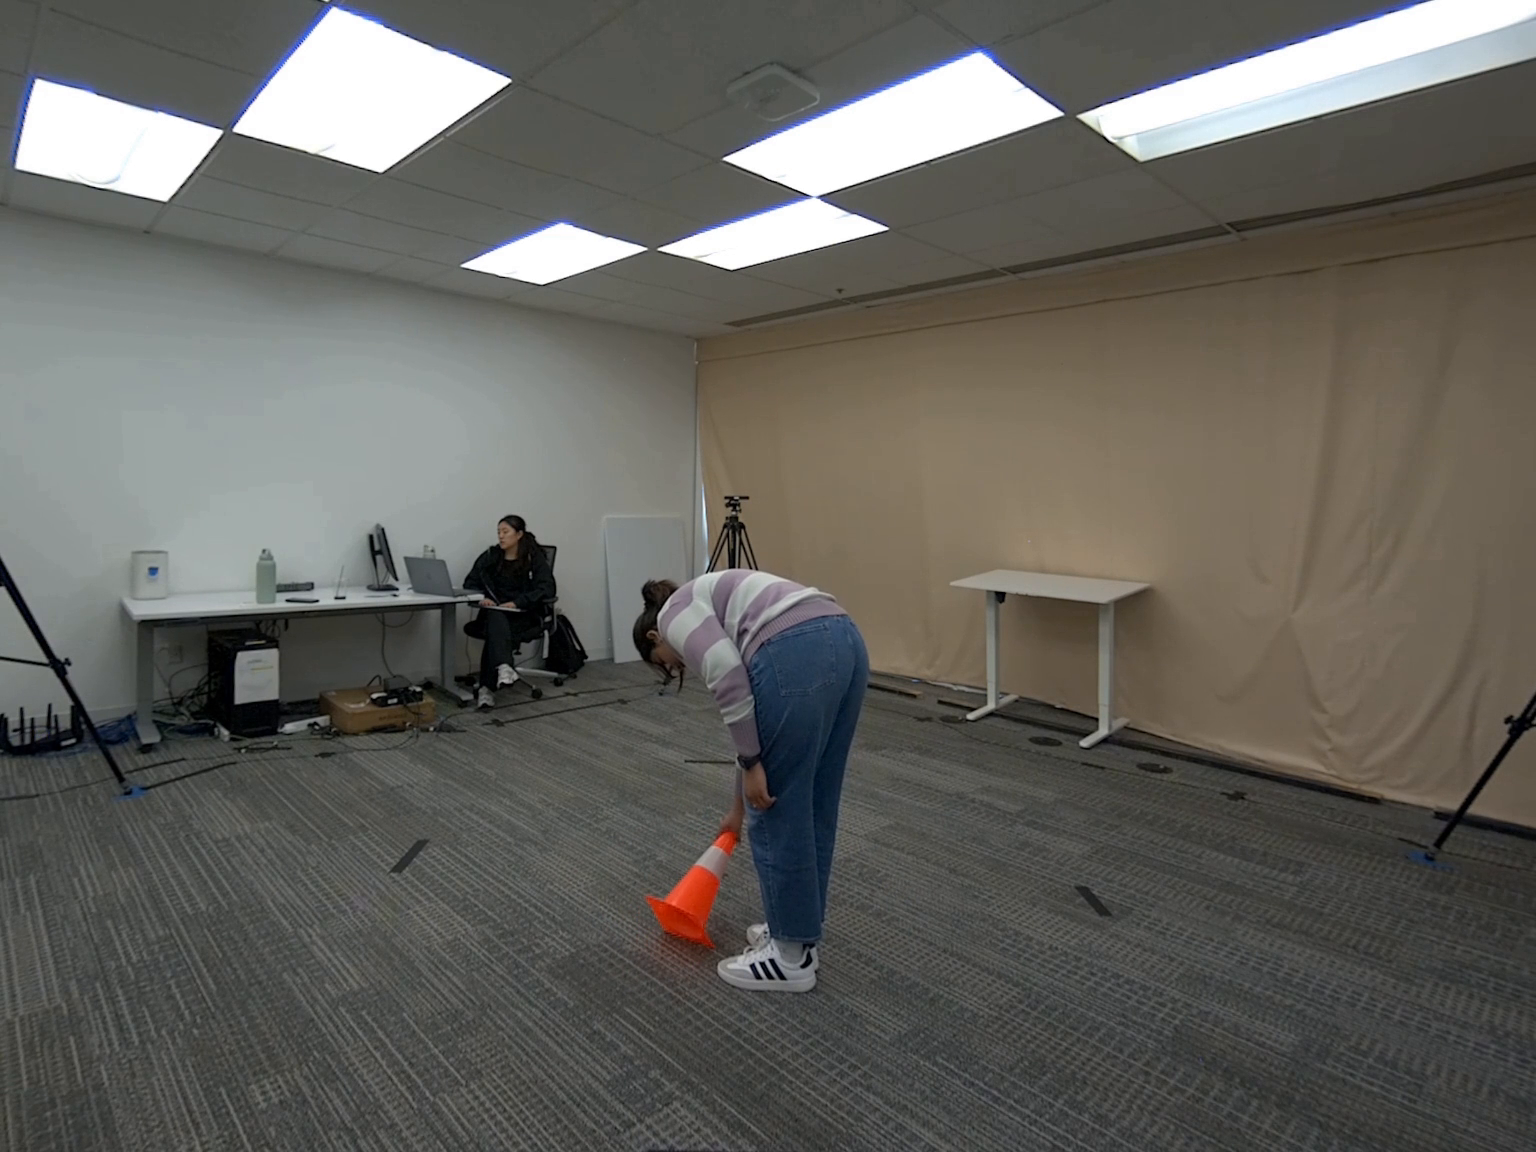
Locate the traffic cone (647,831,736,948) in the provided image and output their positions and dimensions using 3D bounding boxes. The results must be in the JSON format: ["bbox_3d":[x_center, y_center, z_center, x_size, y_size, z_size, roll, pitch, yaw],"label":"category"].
[{"bbox_3d":[-0.193,0.947,2.713,0.208,0.200,0.385,-4,37,38],"label":"traffic cone"}]
